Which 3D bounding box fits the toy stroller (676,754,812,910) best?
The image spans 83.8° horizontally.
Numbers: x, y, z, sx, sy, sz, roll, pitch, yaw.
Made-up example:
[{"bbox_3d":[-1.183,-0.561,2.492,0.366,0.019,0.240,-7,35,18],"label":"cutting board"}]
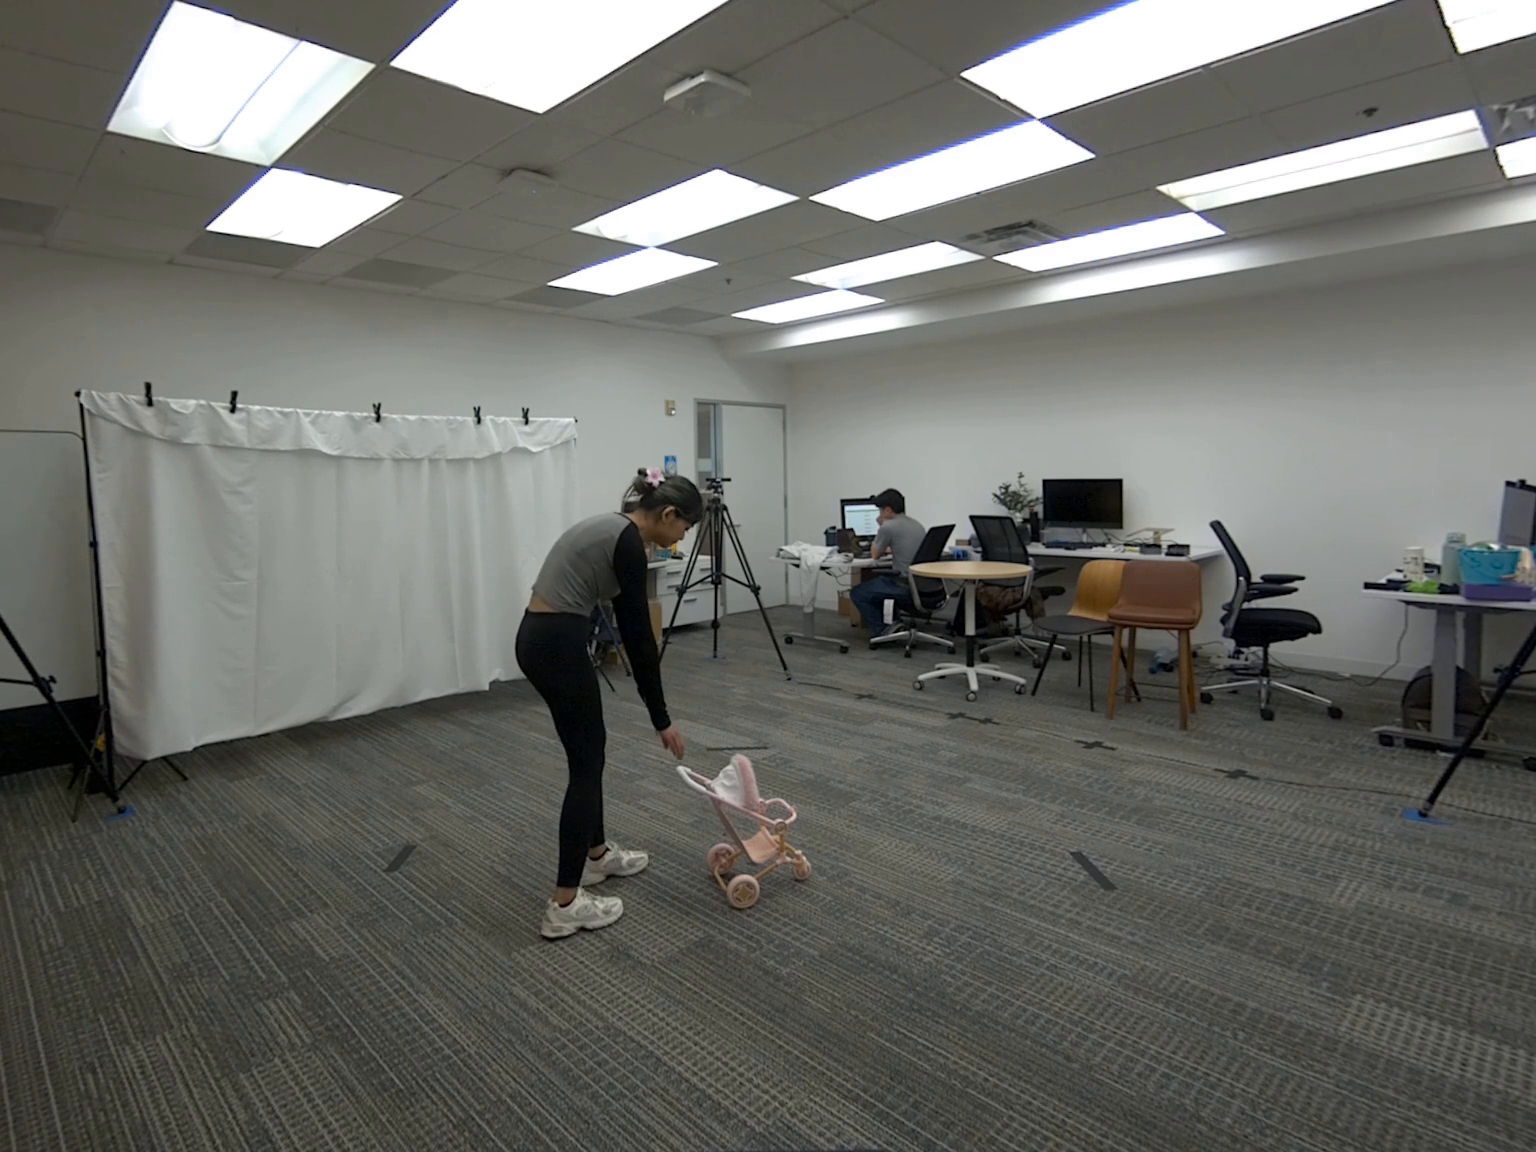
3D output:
[{"bbox_3d":[-0.060,0.841,2.899,0.339,0.530,0.286,-18,8,-12],"label":"toy stroller"}]
